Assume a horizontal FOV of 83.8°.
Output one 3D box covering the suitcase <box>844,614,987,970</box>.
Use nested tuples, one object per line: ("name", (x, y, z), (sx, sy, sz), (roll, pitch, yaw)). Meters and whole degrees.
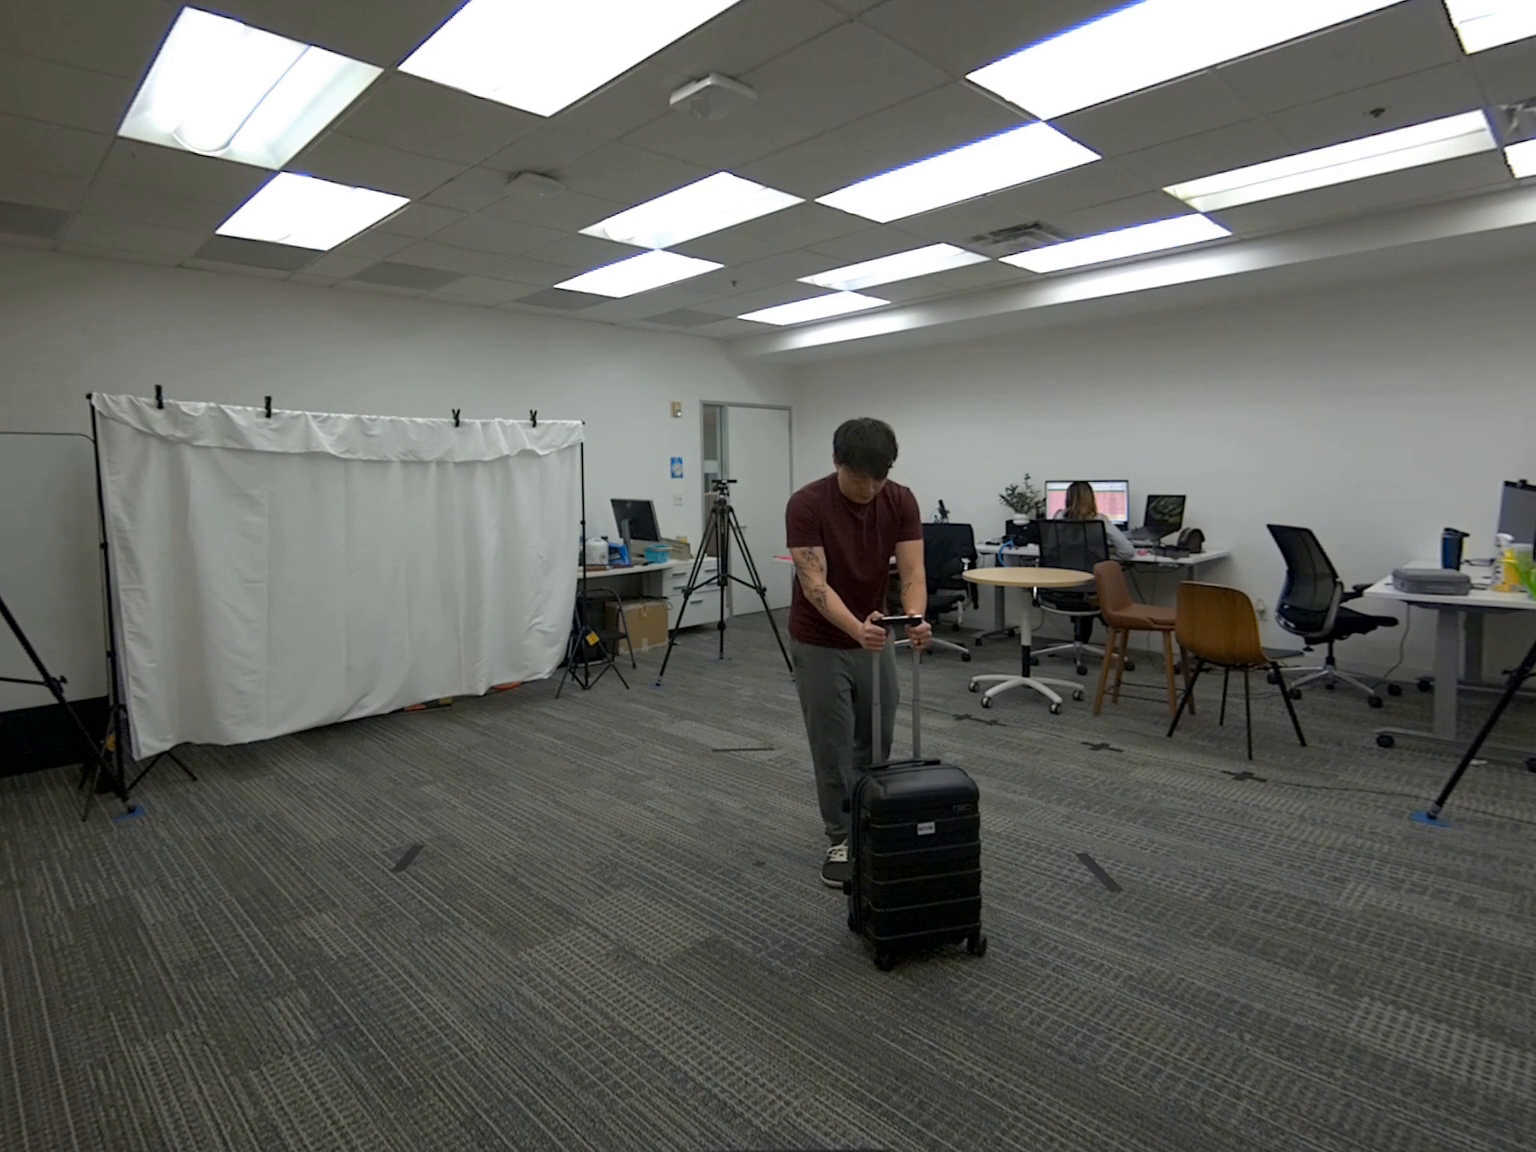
("suitcase", (0.430, 0.637, 2.519), (0.381, 0.972, 0.261), (-3, 7, -10))
